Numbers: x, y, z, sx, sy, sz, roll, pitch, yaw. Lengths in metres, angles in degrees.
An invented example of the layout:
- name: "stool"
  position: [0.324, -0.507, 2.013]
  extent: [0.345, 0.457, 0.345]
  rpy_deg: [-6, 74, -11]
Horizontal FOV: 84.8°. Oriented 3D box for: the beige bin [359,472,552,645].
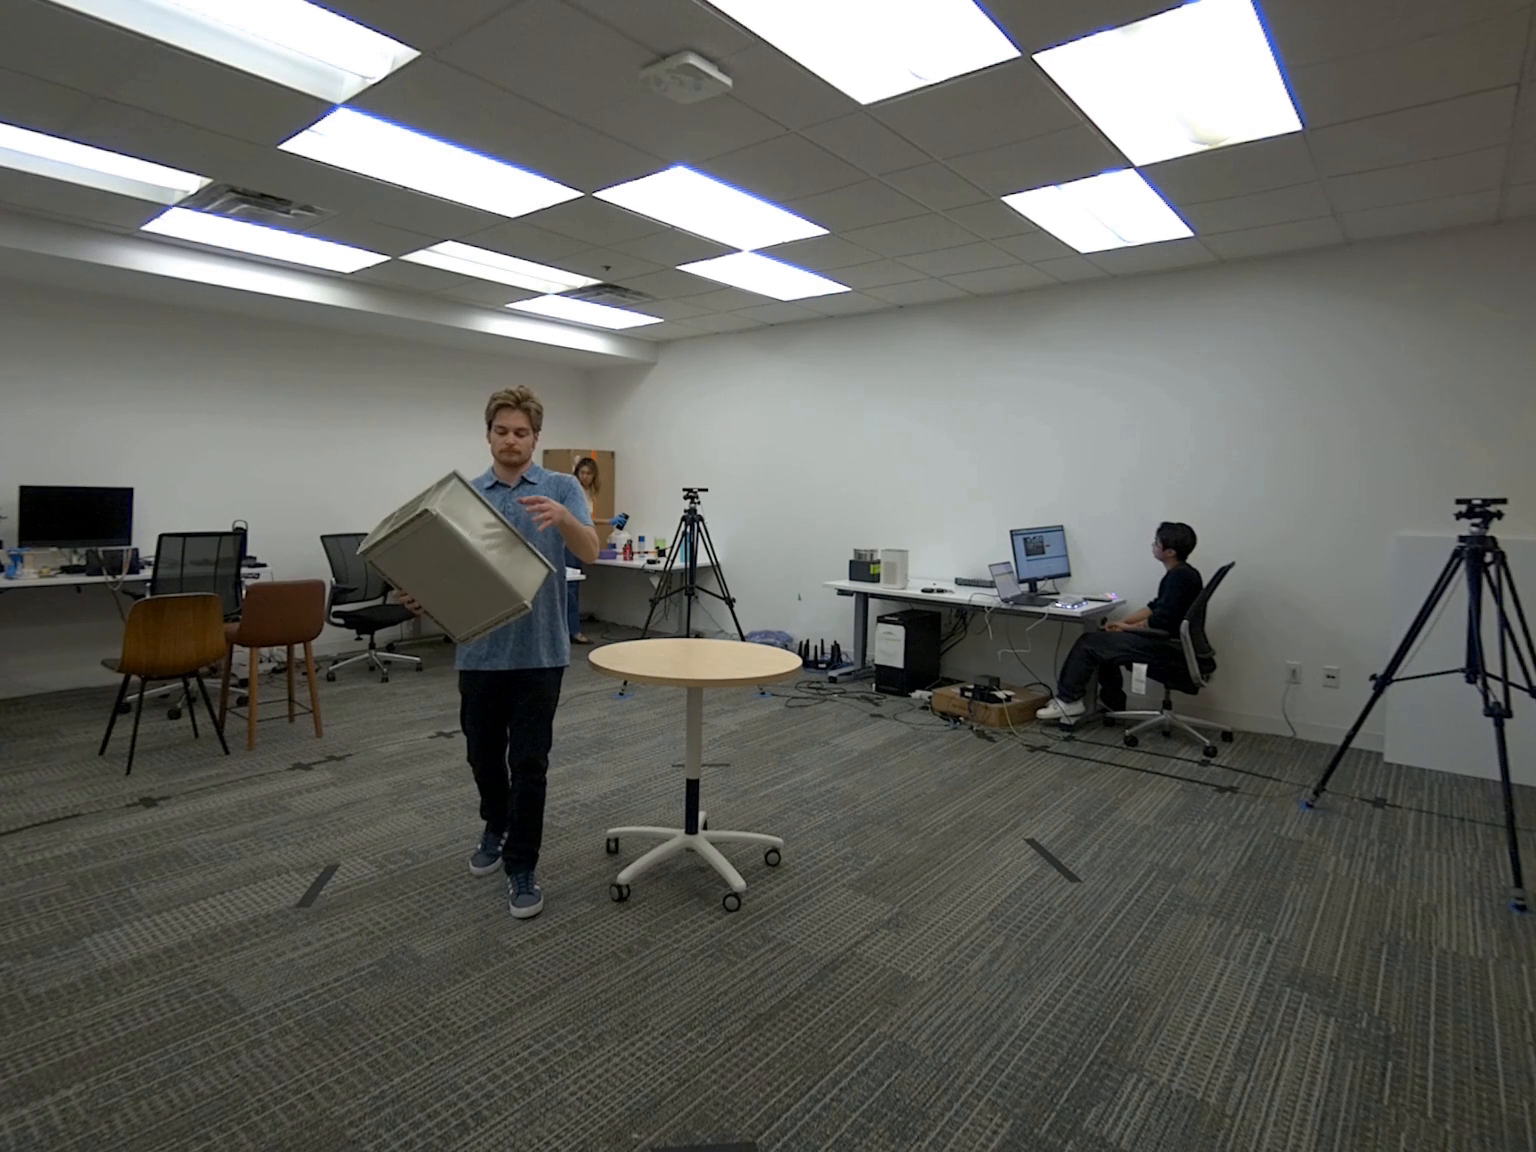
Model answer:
- name: "beige bin"
  position: [-0.938, -0.037, 2.500]
  extent: [0.382, 0.409, 0.192]
  rpy_deg: [-26, 28, 28]
